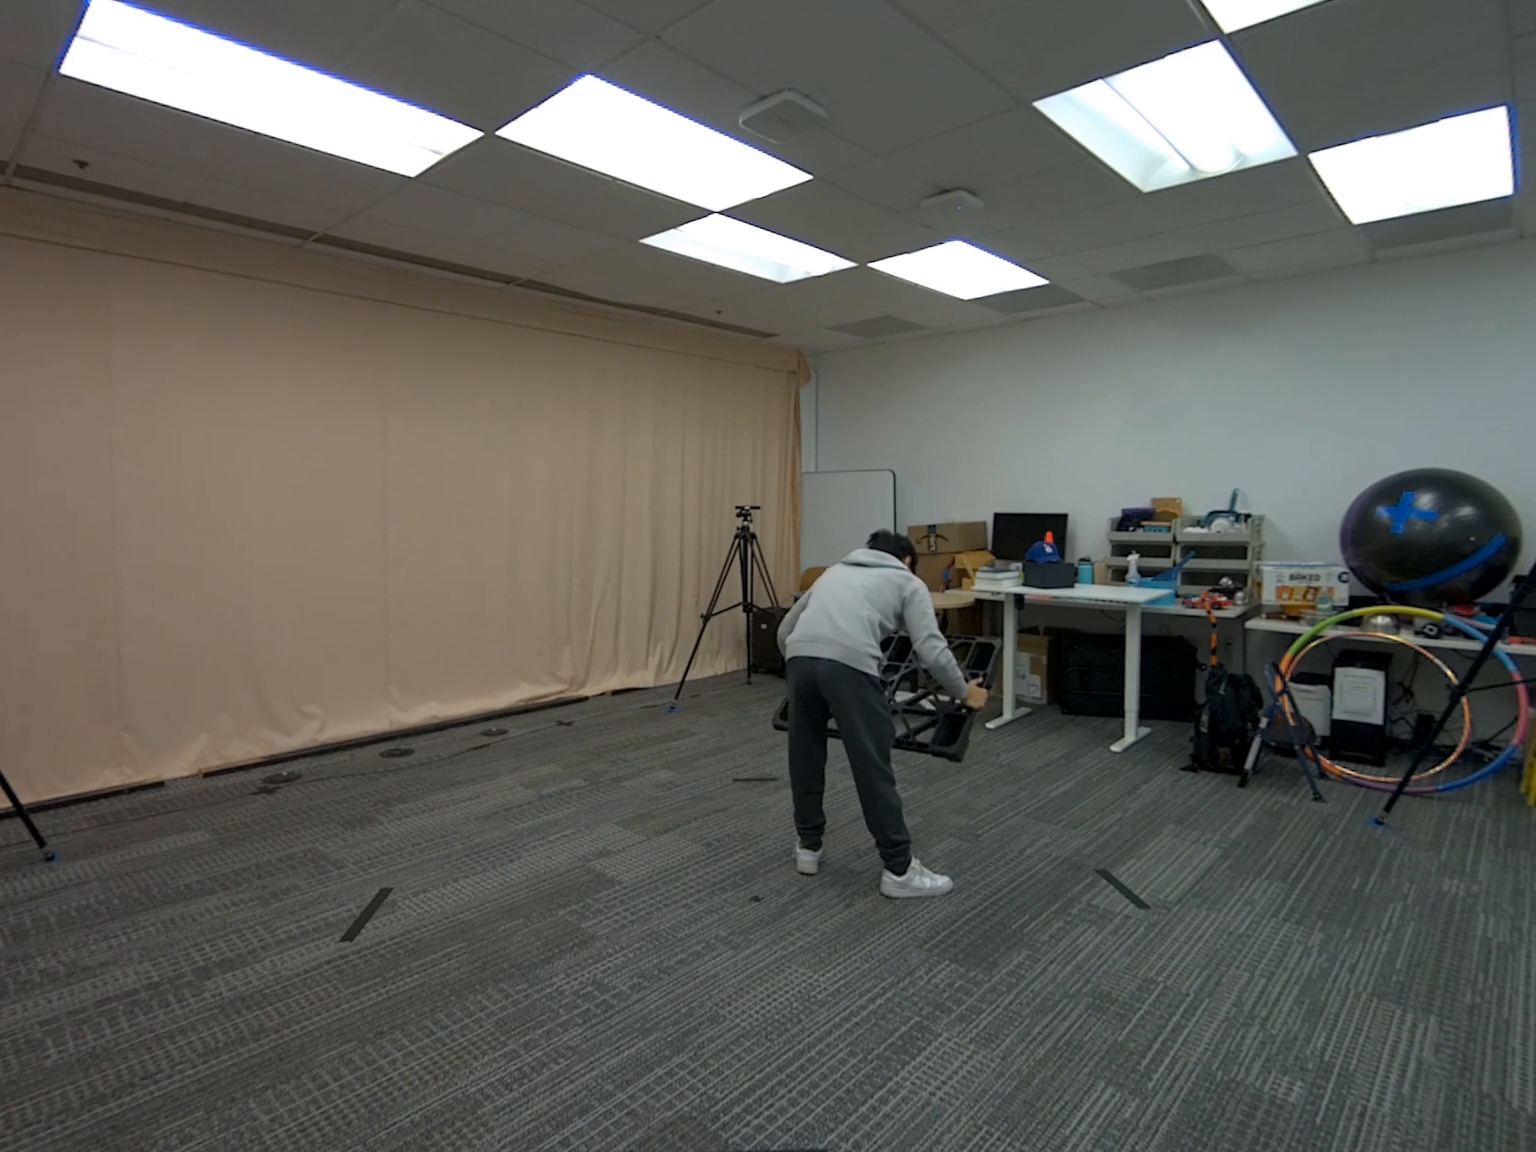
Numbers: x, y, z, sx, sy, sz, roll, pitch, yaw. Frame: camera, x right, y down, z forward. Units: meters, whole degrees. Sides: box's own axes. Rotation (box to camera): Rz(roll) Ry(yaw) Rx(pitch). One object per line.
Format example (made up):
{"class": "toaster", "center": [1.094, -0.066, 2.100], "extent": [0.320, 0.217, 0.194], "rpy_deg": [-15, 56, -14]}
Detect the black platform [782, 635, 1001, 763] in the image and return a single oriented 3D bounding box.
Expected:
{"class": "black platform", "center": [0.499, 0.472, 3.423], "extent": [0.831, 0.139, 0.603], "rpy_deg": [1, 42, 37]}
